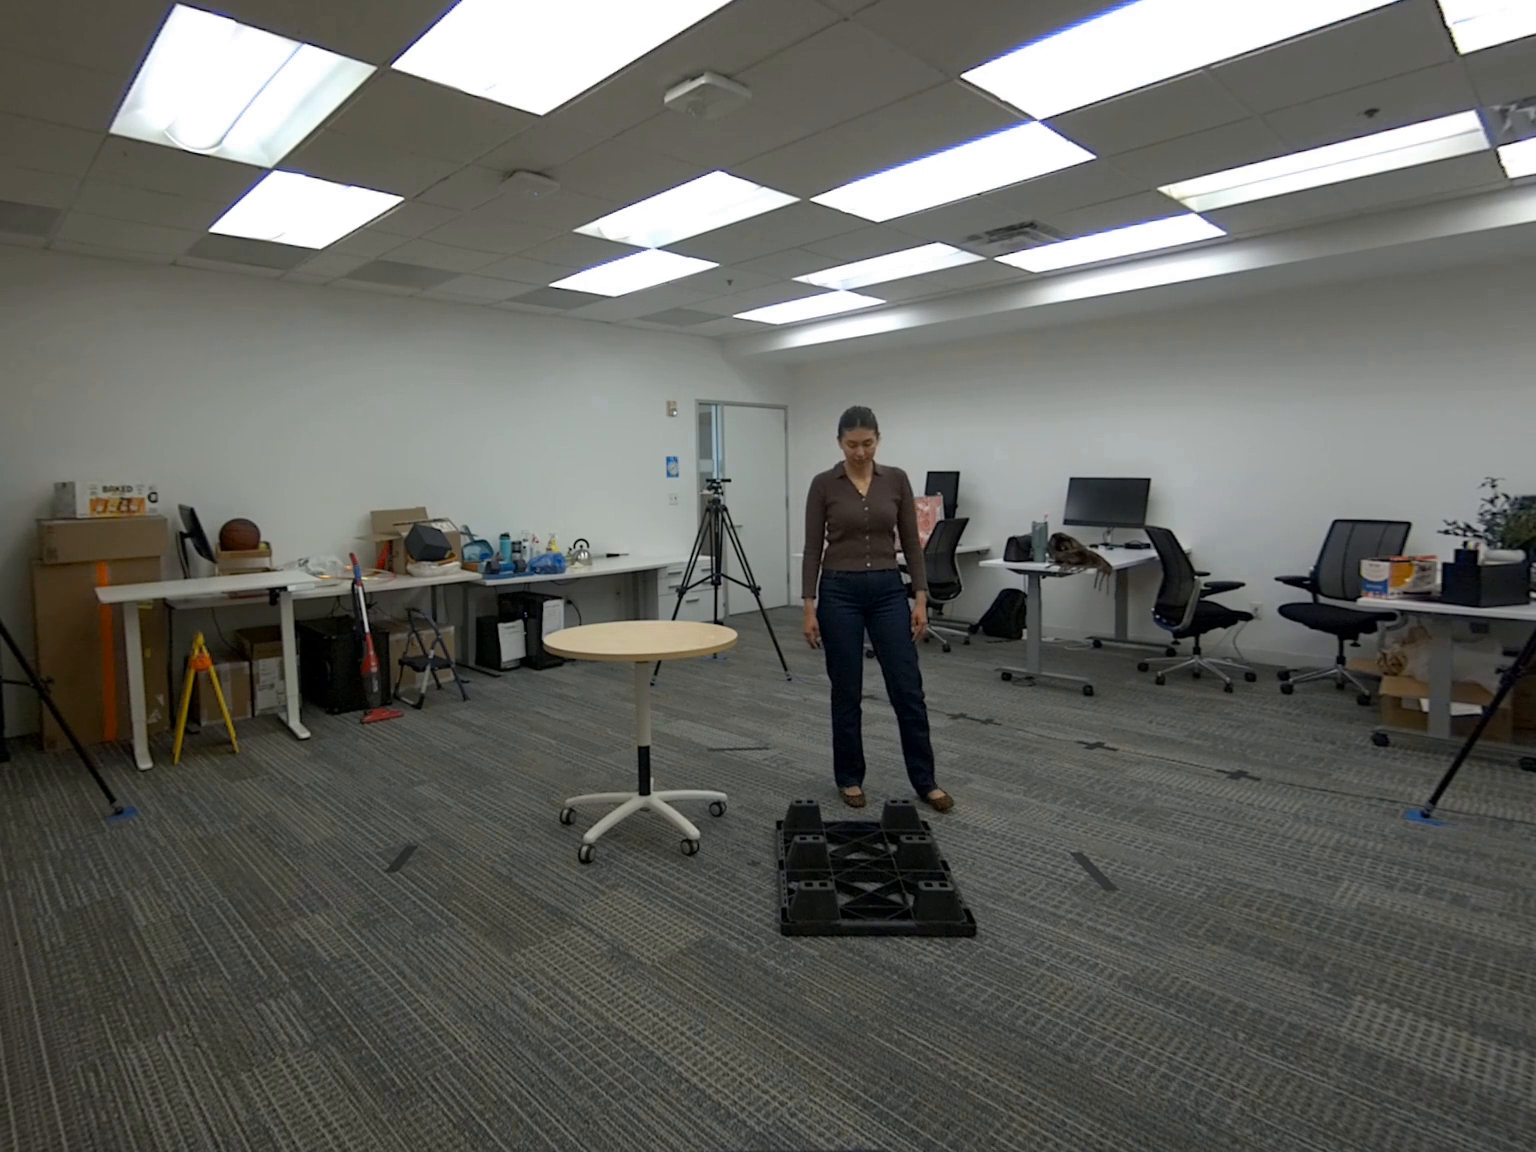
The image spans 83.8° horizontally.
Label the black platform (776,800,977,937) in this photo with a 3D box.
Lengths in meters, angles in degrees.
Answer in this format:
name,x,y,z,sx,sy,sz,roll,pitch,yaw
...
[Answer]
name,x,y,z,sx,sy,sz,roll,pitch,yaw
black platform,0.336,0.985,2.982,0.606,0.142,0.809,-1,7,0
